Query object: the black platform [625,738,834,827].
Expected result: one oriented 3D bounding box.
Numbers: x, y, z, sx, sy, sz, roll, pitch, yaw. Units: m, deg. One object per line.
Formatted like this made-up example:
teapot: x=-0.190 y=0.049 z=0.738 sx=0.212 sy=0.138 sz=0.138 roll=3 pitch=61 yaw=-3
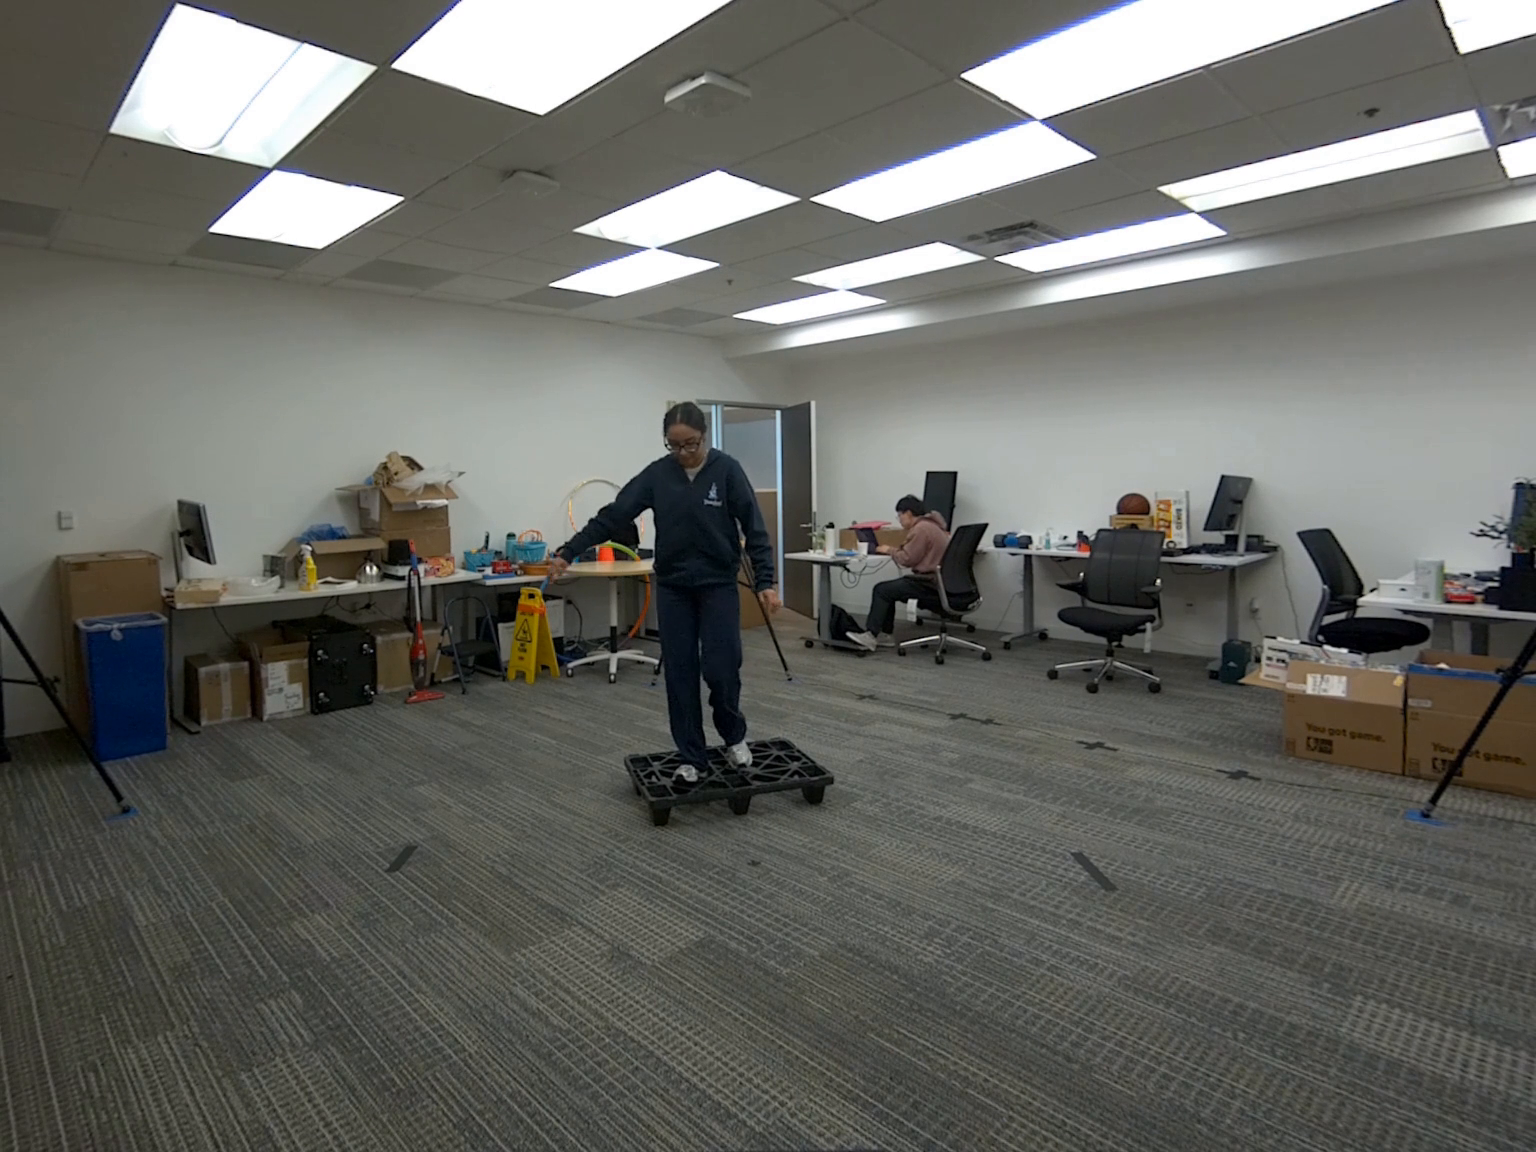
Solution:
black platform: x=-0.185 y=0.903 z=3.774 sx=0.794 sy=0.142 sz=0.617 roll=-4 pitch=7 yaw=-17
